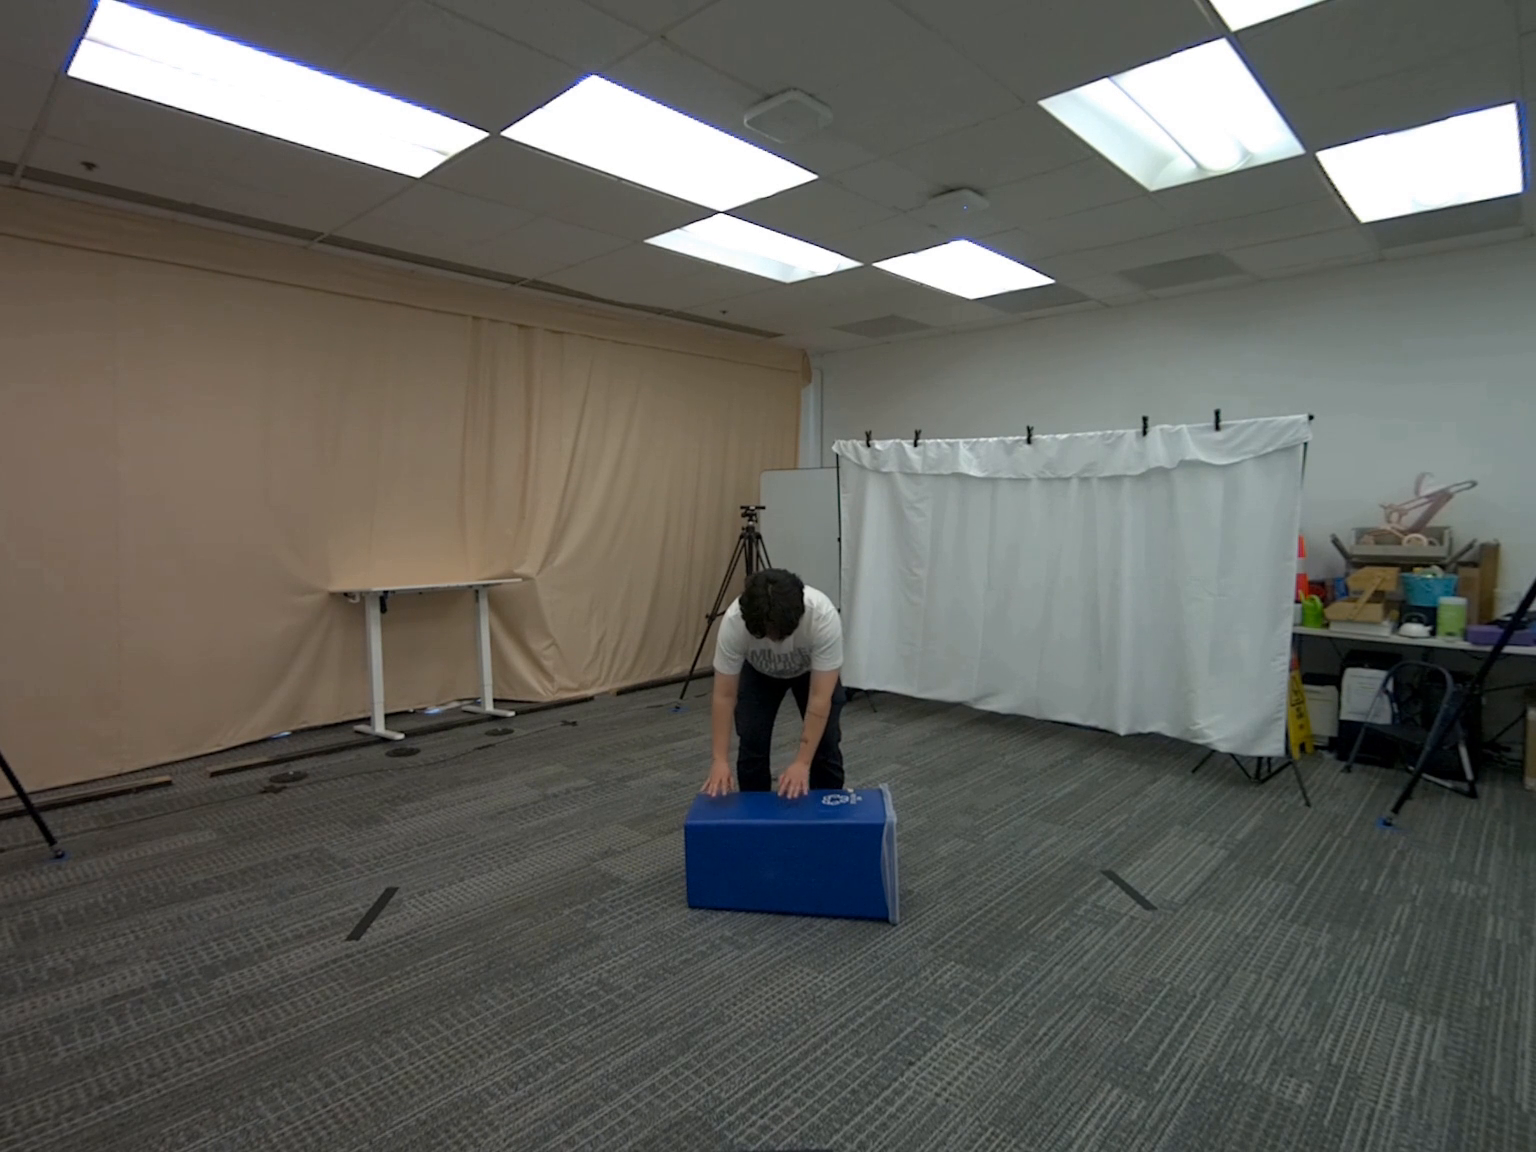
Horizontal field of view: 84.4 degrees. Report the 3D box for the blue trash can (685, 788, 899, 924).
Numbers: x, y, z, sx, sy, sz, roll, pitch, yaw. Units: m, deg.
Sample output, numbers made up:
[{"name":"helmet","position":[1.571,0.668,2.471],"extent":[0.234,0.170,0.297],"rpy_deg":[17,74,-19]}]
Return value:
[{"name":"blue trash can","position":[0.090,0.974,2.992],"extent":[0.718,0.377,0.372],"rpy_deg":[-3,4,6]}]
